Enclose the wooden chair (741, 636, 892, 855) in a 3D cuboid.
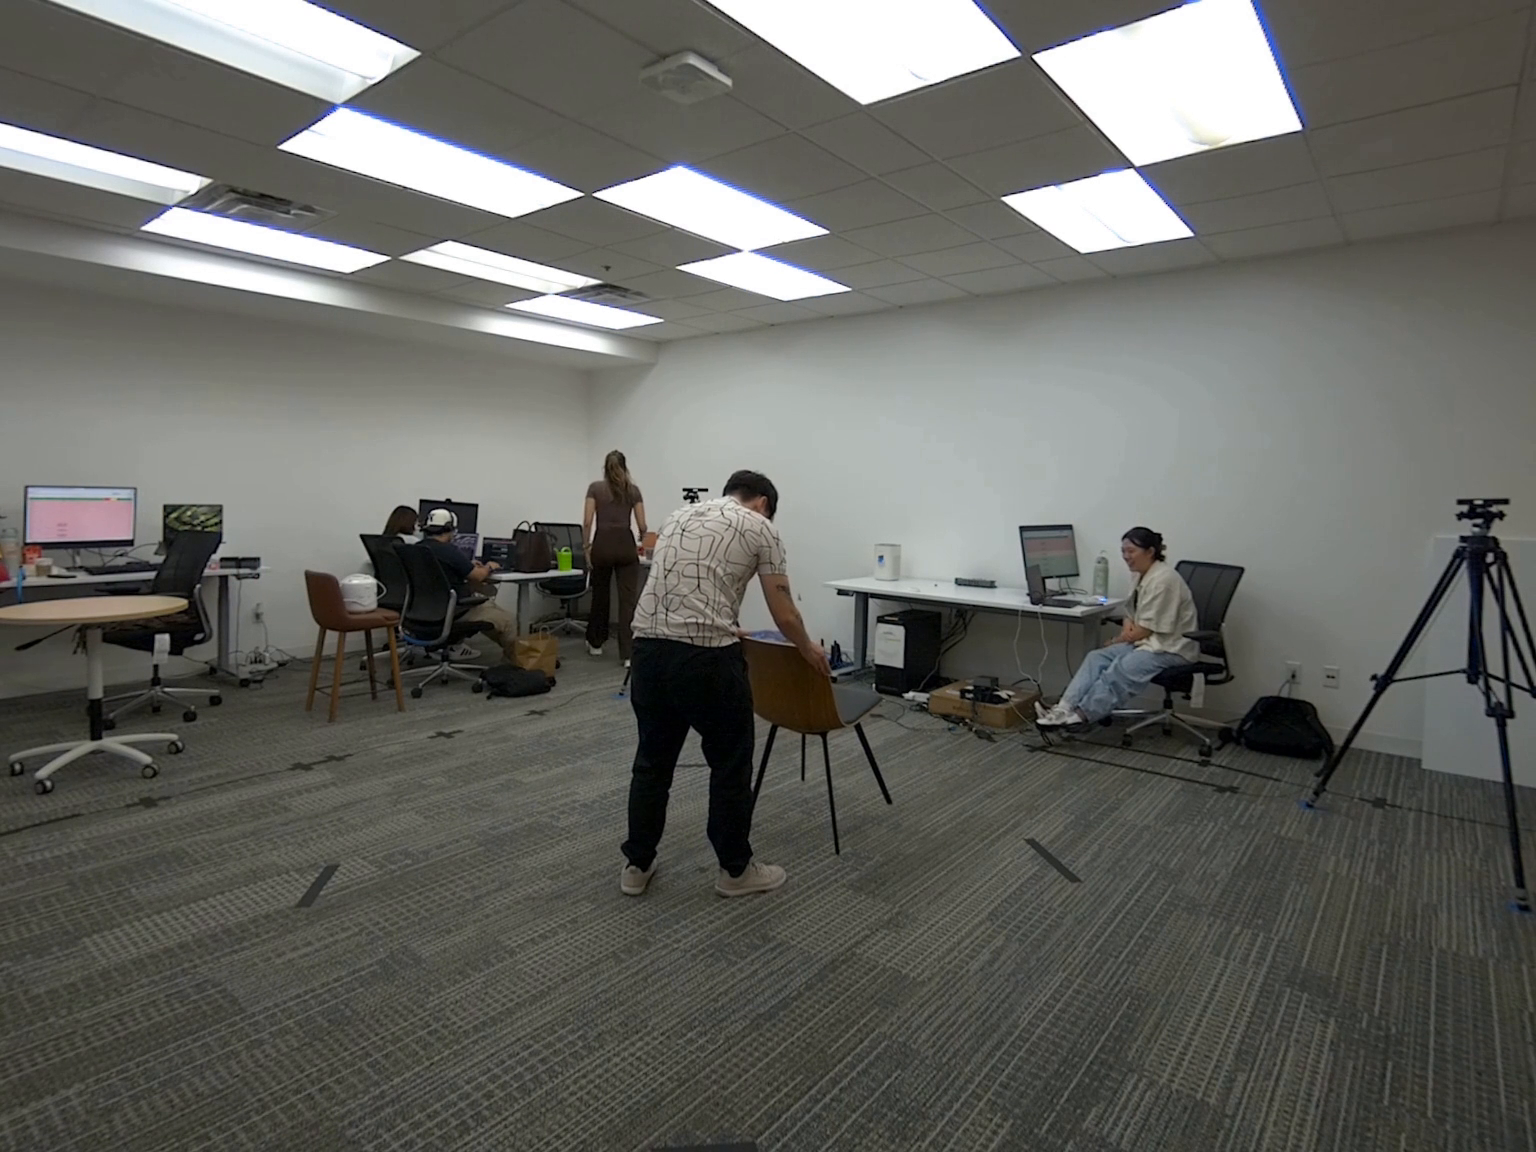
[{"bbox_3d":[0.177,0.578,3.498,0.494,0.864,0.514,3,18,37],"label":"wooden chair"}]
